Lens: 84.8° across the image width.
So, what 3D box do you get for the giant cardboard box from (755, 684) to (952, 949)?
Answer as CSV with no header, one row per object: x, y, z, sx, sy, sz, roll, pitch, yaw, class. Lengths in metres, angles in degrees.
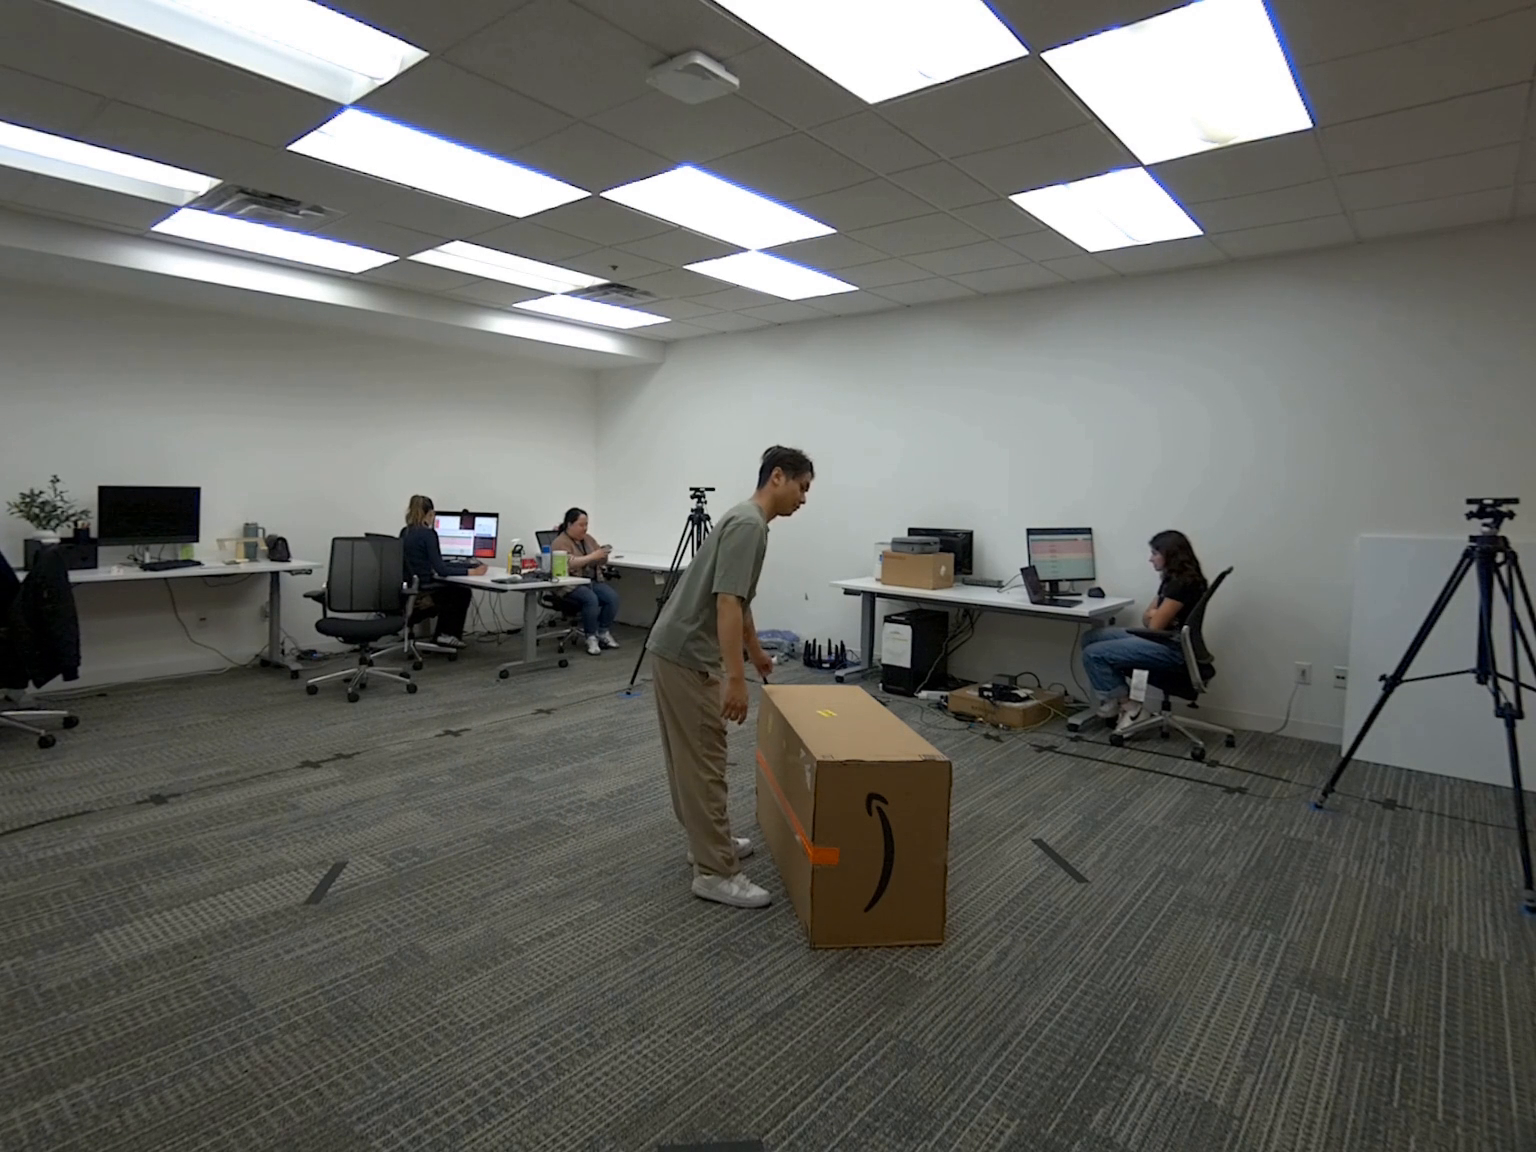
0.249,0.788,3.084,0.422,0.576,1.038,1,5,-9,giant cardboard box
